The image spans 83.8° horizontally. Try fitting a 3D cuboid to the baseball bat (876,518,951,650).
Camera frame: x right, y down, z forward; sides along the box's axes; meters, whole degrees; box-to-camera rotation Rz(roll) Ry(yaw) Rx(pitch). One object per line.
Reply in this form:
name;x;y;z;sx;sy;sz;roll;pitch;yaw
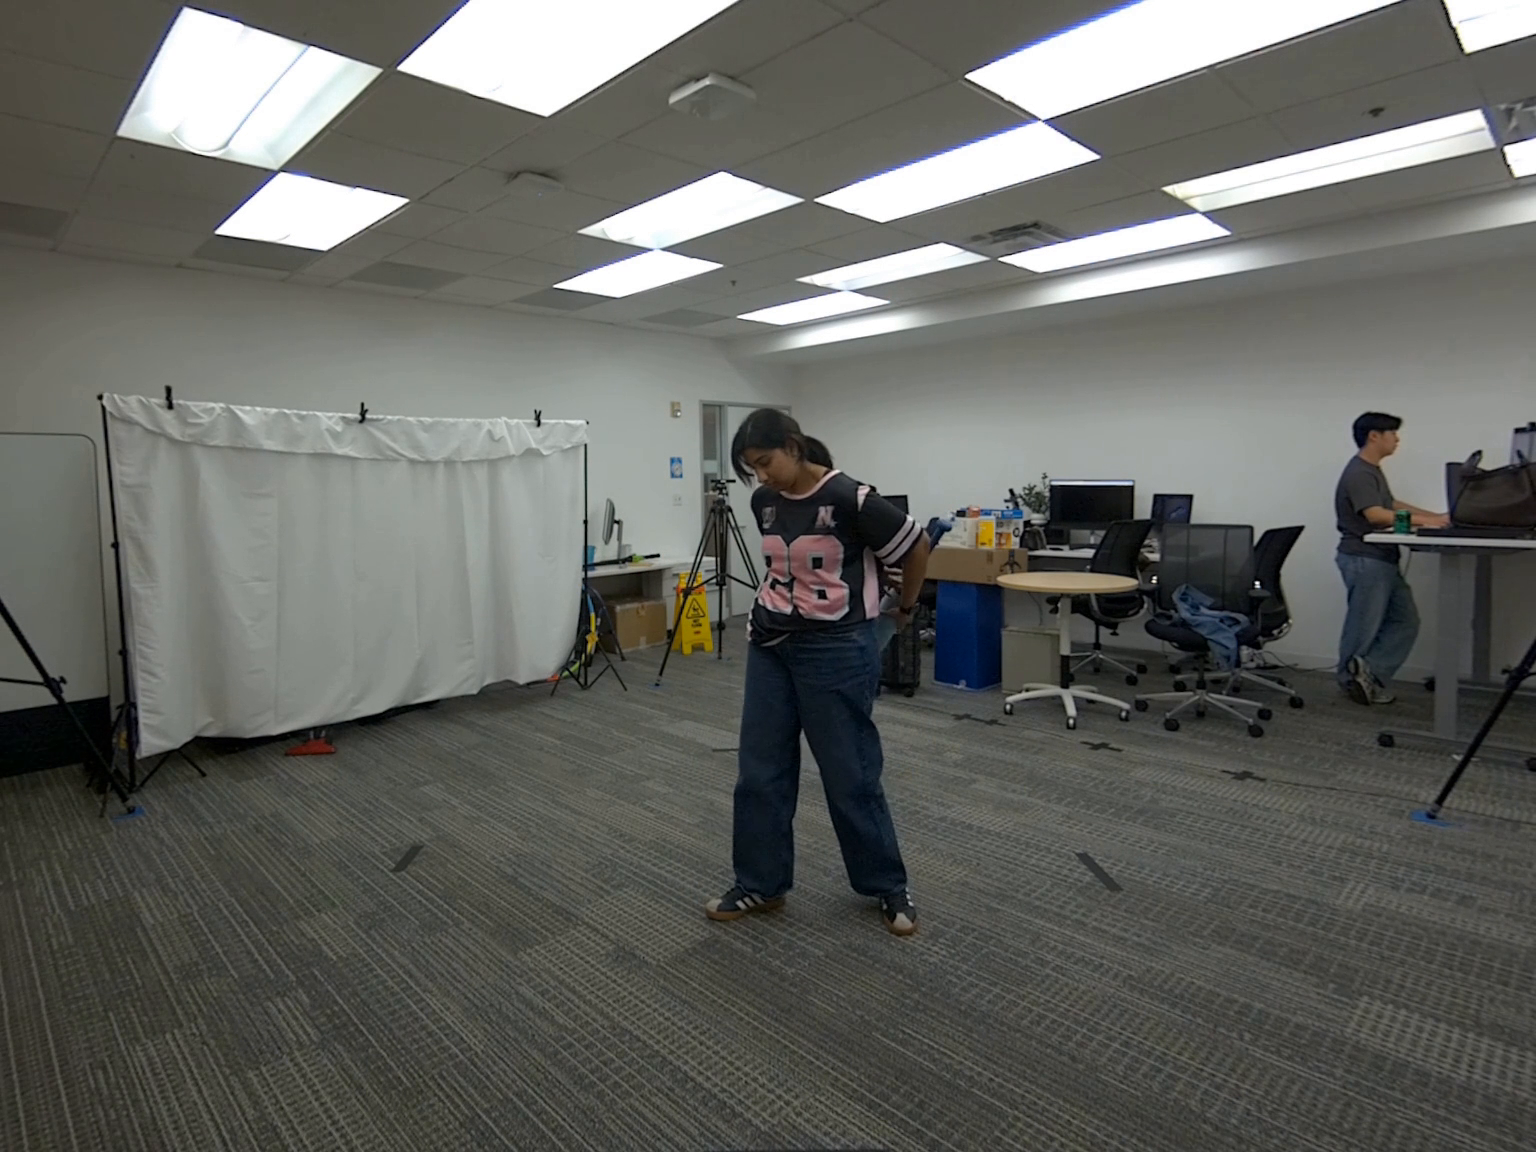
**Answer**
baseball bat;0.452;0.042;2.806;0.088;0.536;0.091;16;32;-12
